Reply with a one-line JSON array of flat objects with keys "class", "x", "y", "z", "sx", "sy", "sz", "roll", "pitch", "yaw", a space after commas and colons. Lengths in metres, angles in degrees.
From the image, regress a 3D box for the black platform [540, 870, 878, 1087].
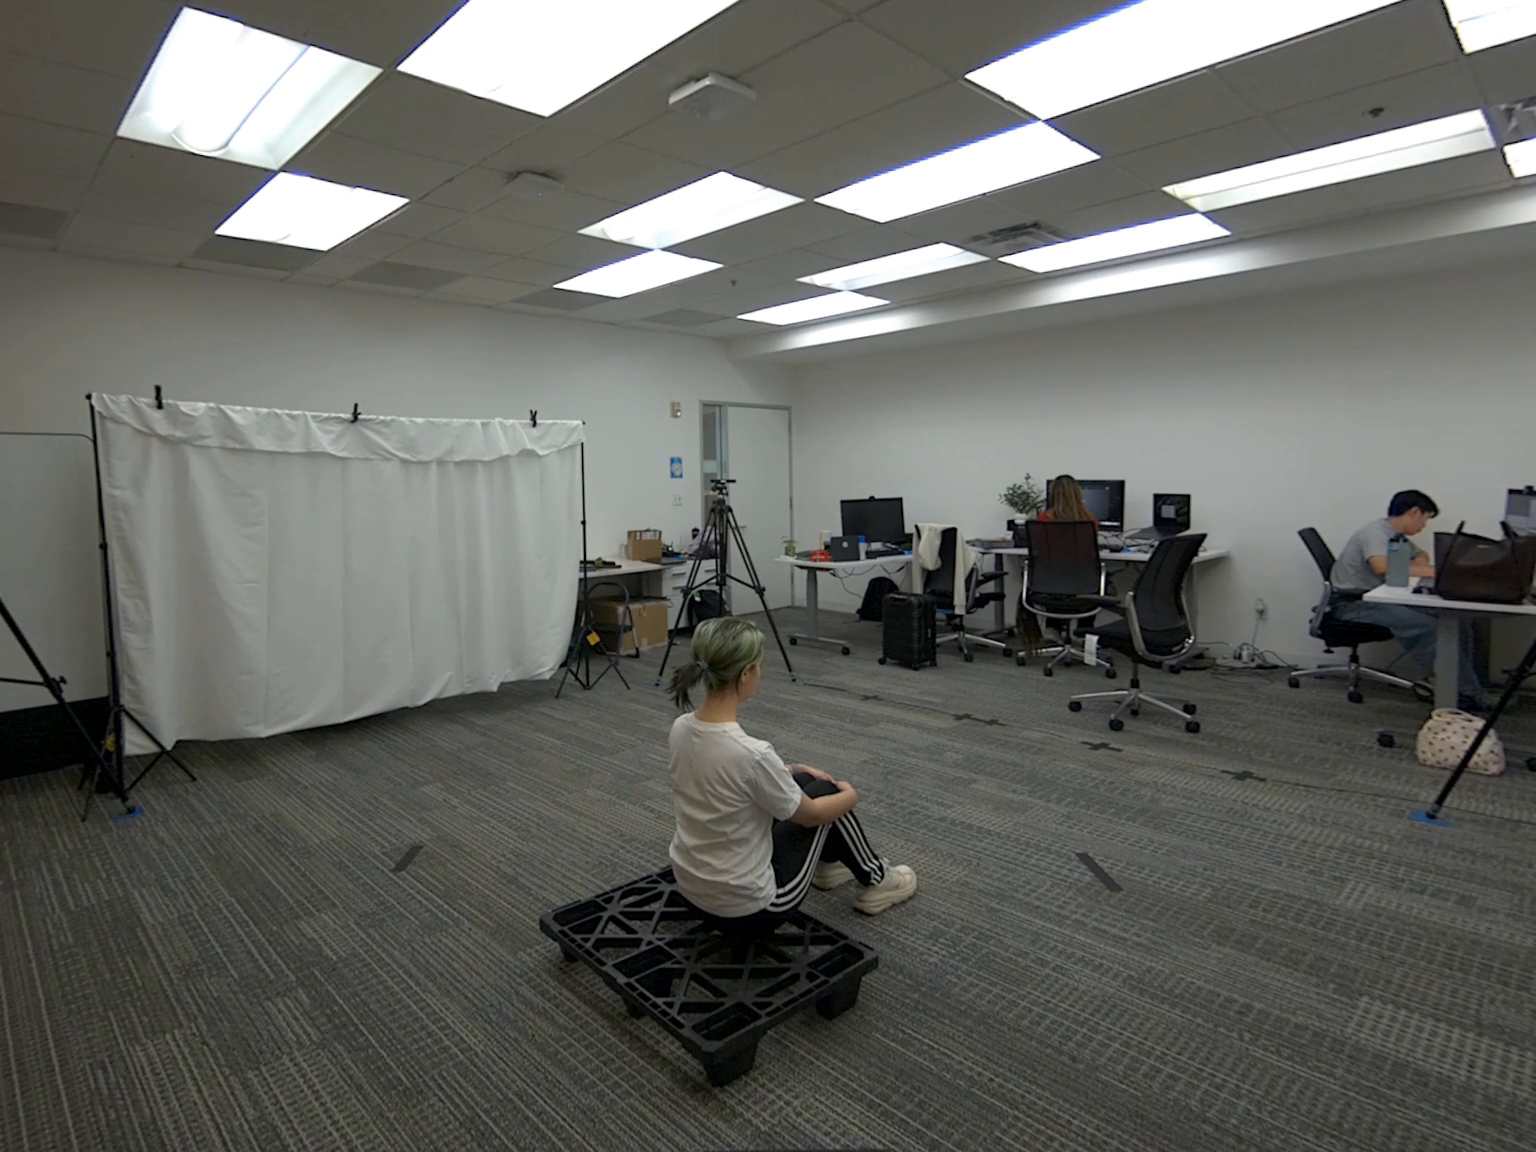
[{"class": "black platform", "x": -0.184, "y": 1.066, "z": 2.397, "sx": 0.589, "sy": 0.142, "sz": 0.831, "roll": -6, "pitch": 9, "yaw": -40}]
